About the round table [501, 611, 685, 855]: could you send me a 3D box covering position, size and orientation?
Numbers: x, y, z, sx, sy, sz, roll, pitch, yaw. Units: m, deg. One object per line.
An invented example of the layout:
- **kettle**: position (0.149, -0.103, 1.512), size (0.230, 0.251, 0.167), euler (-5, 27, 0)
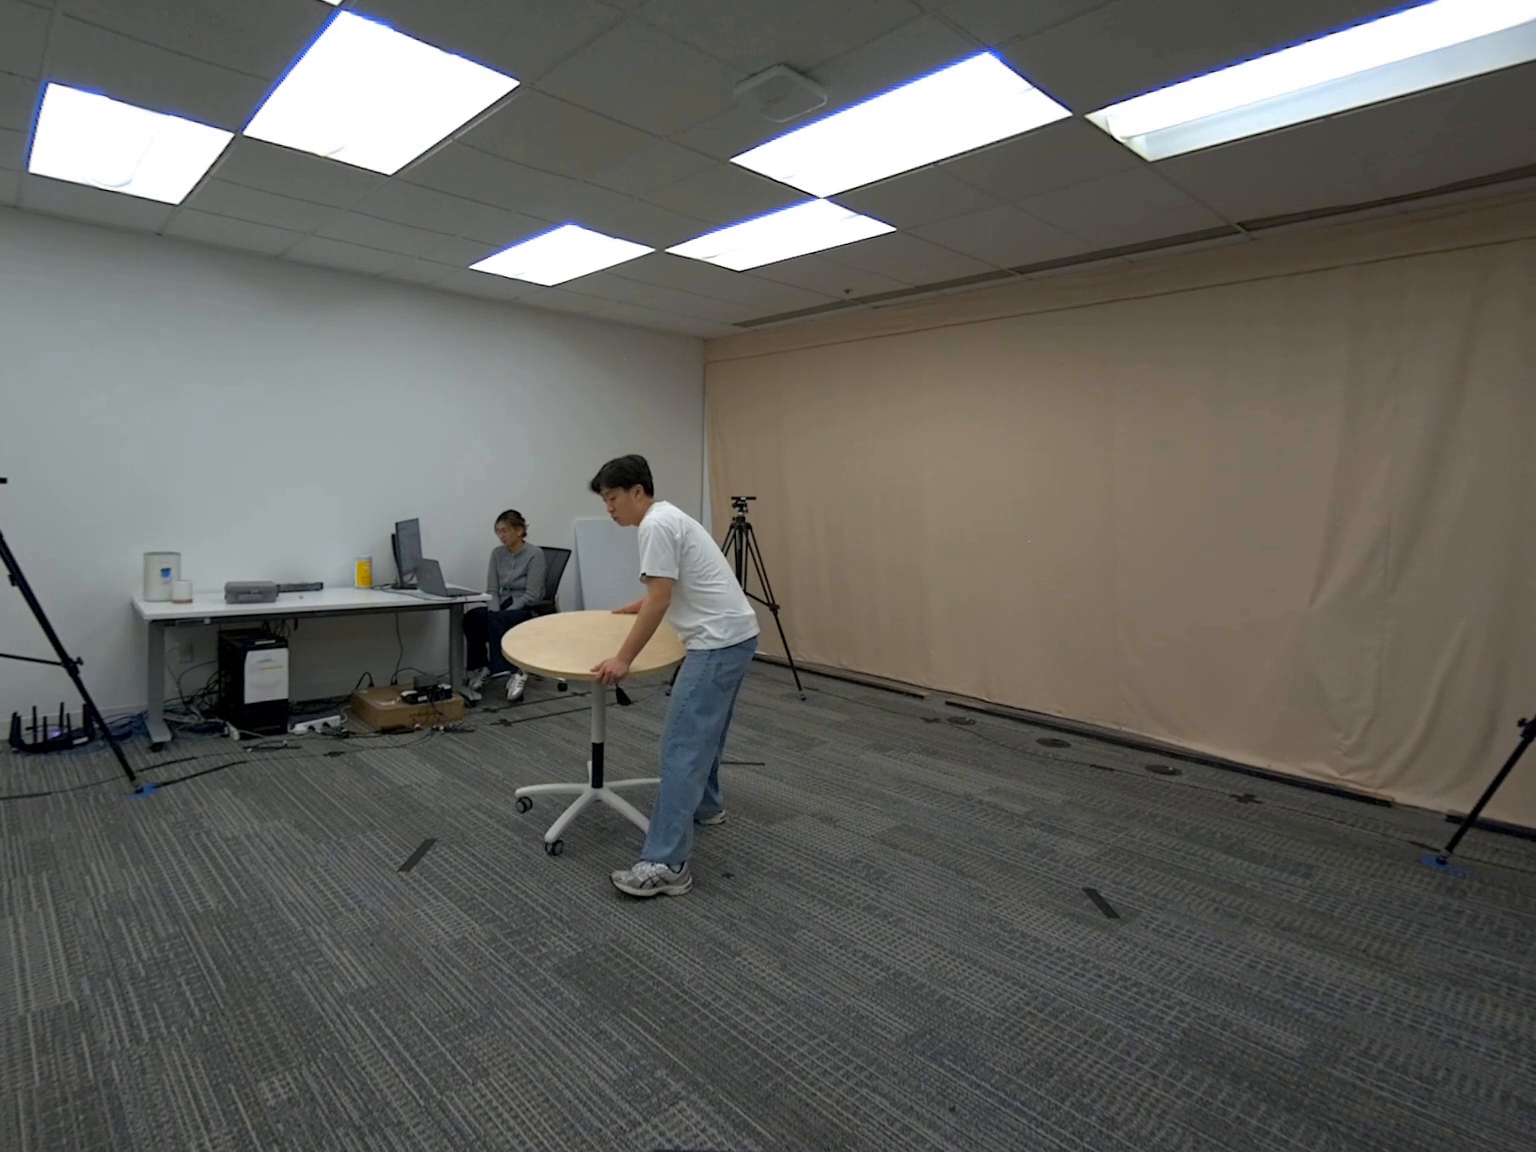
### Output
- **round table**: position (-0.707, 0.638, 3.455), size (0.763, 0.787, 0.772), euler (2, 13, -2)
